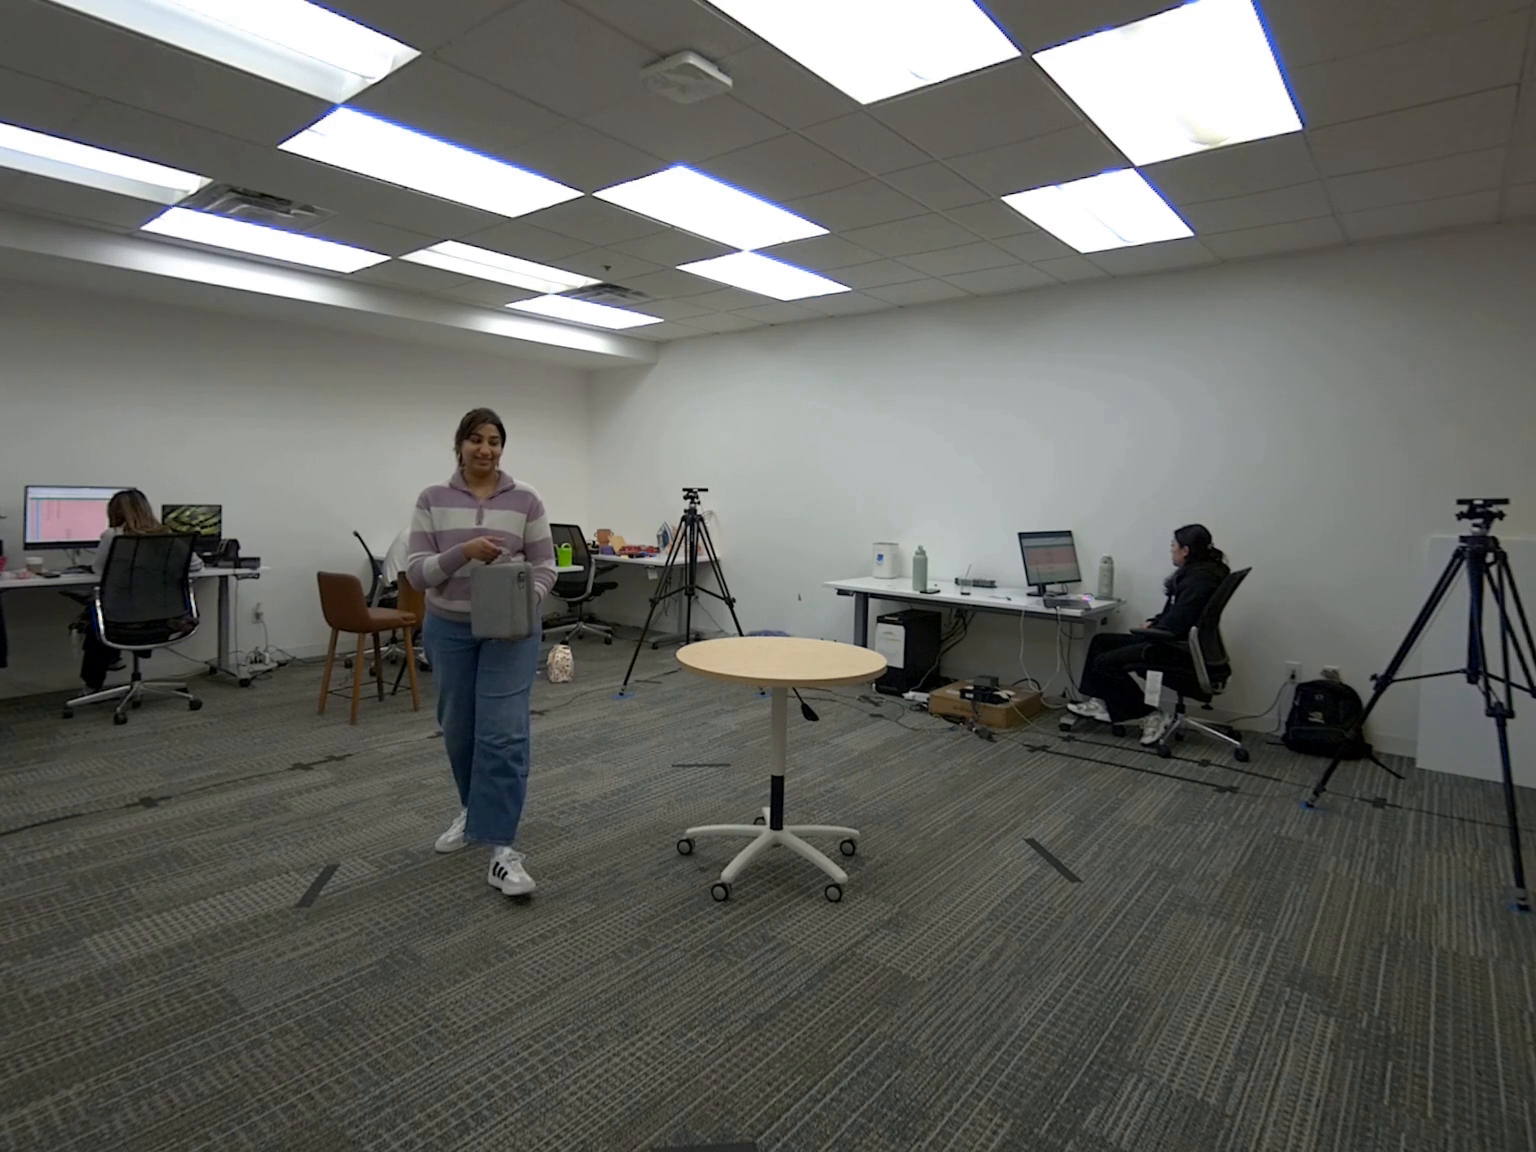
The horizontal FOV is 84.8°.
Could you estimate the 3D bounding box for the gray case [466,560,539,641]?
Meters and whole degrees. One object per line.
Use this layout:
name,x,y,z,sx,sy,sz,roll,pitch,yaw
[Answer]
gray case,-0.900,0.075,2.851,0.264,0.262,0.101,-6,-4,41
